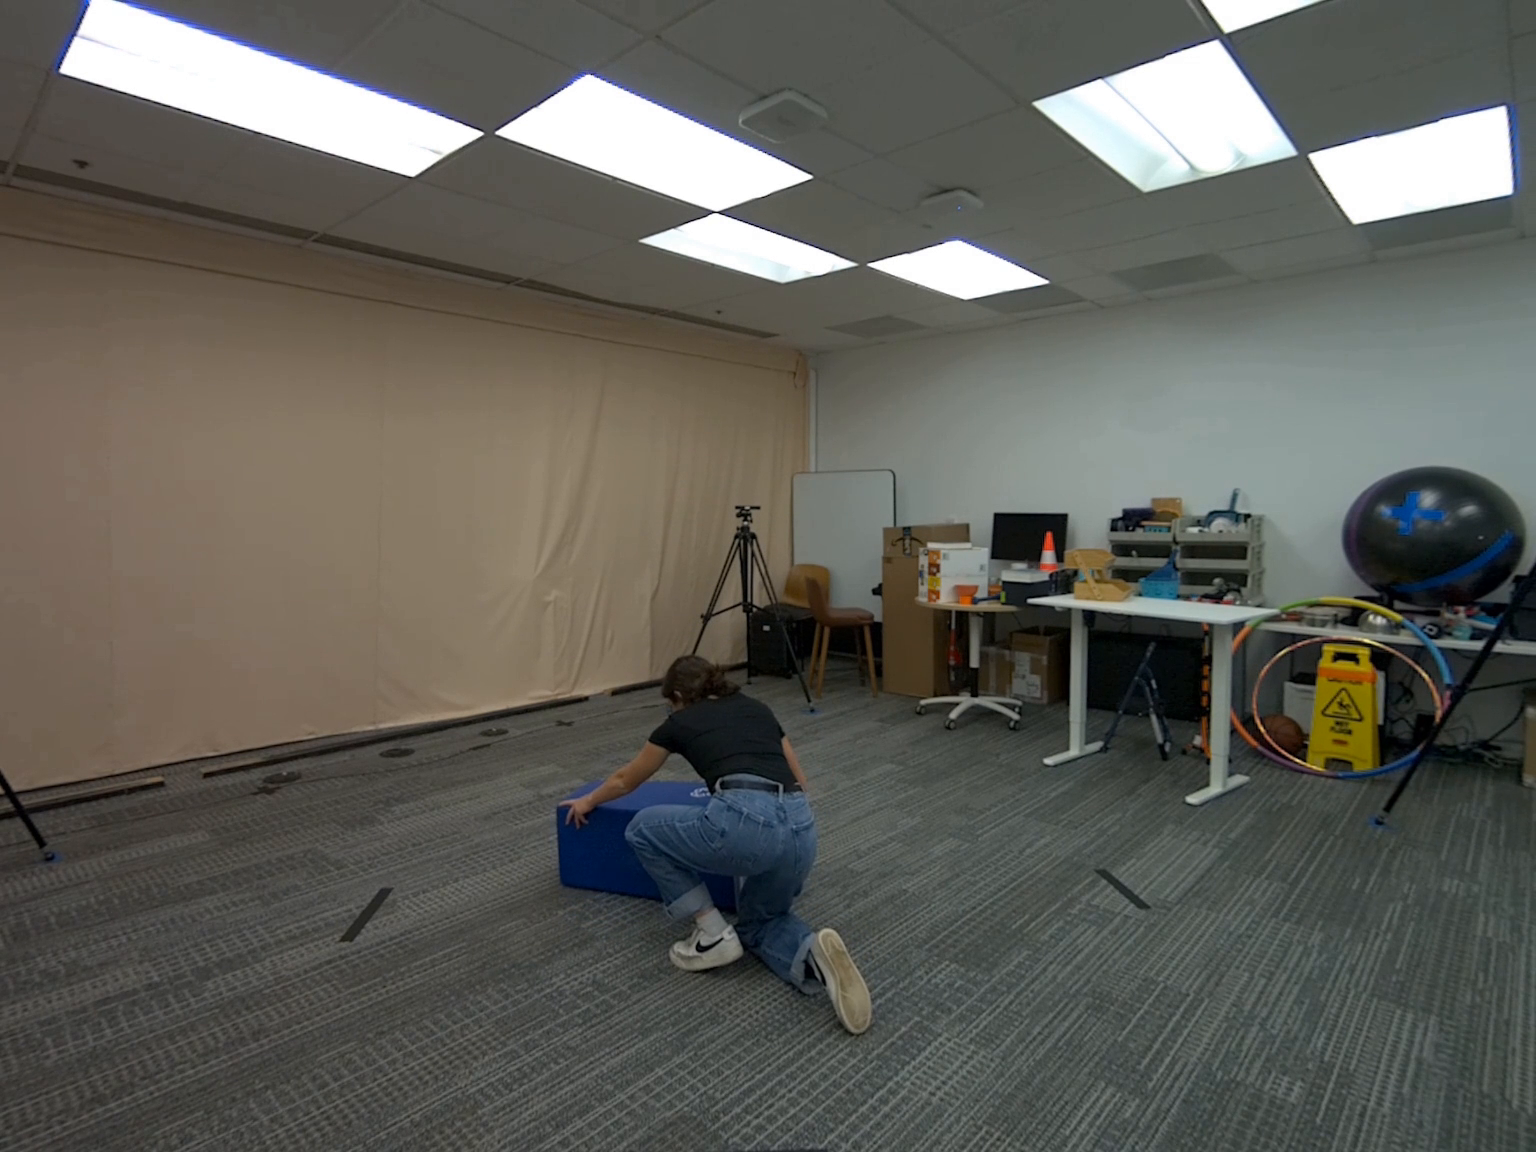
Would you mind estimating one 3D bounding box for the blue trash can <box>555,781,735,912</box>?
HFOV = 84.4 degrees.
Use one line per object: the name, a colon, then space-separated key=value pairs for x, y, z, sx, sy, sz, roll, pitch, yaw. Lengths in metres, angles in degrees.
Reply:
blue trash can: x=-0.387 y=0.968 z=3.111 sx=0.726 sy=0.377 sz=0.369 roll=-2 pitch=4 yaw=16
